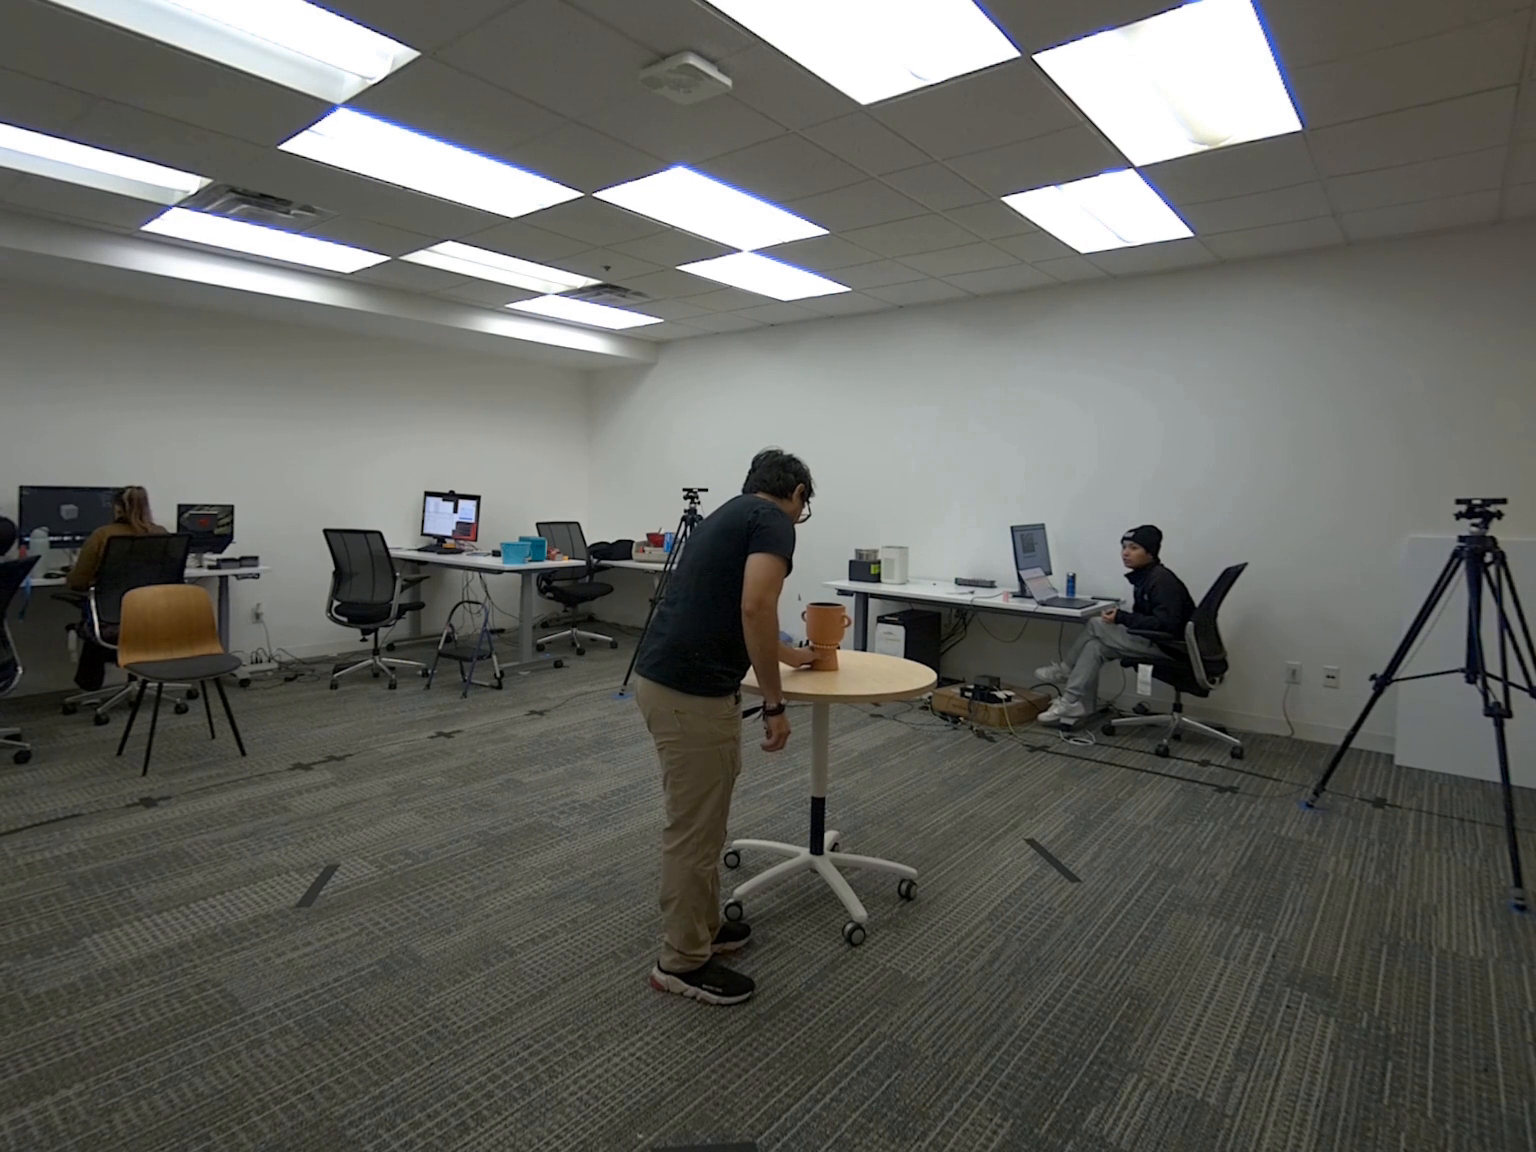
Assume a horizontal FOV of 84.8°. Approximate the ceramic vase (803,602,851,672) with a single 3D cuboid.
[{"bbox_3d":[0.195,0.206,2.912,0.132,0.219,0.162,1,4,-15],"label":"ceramic vase"}]
